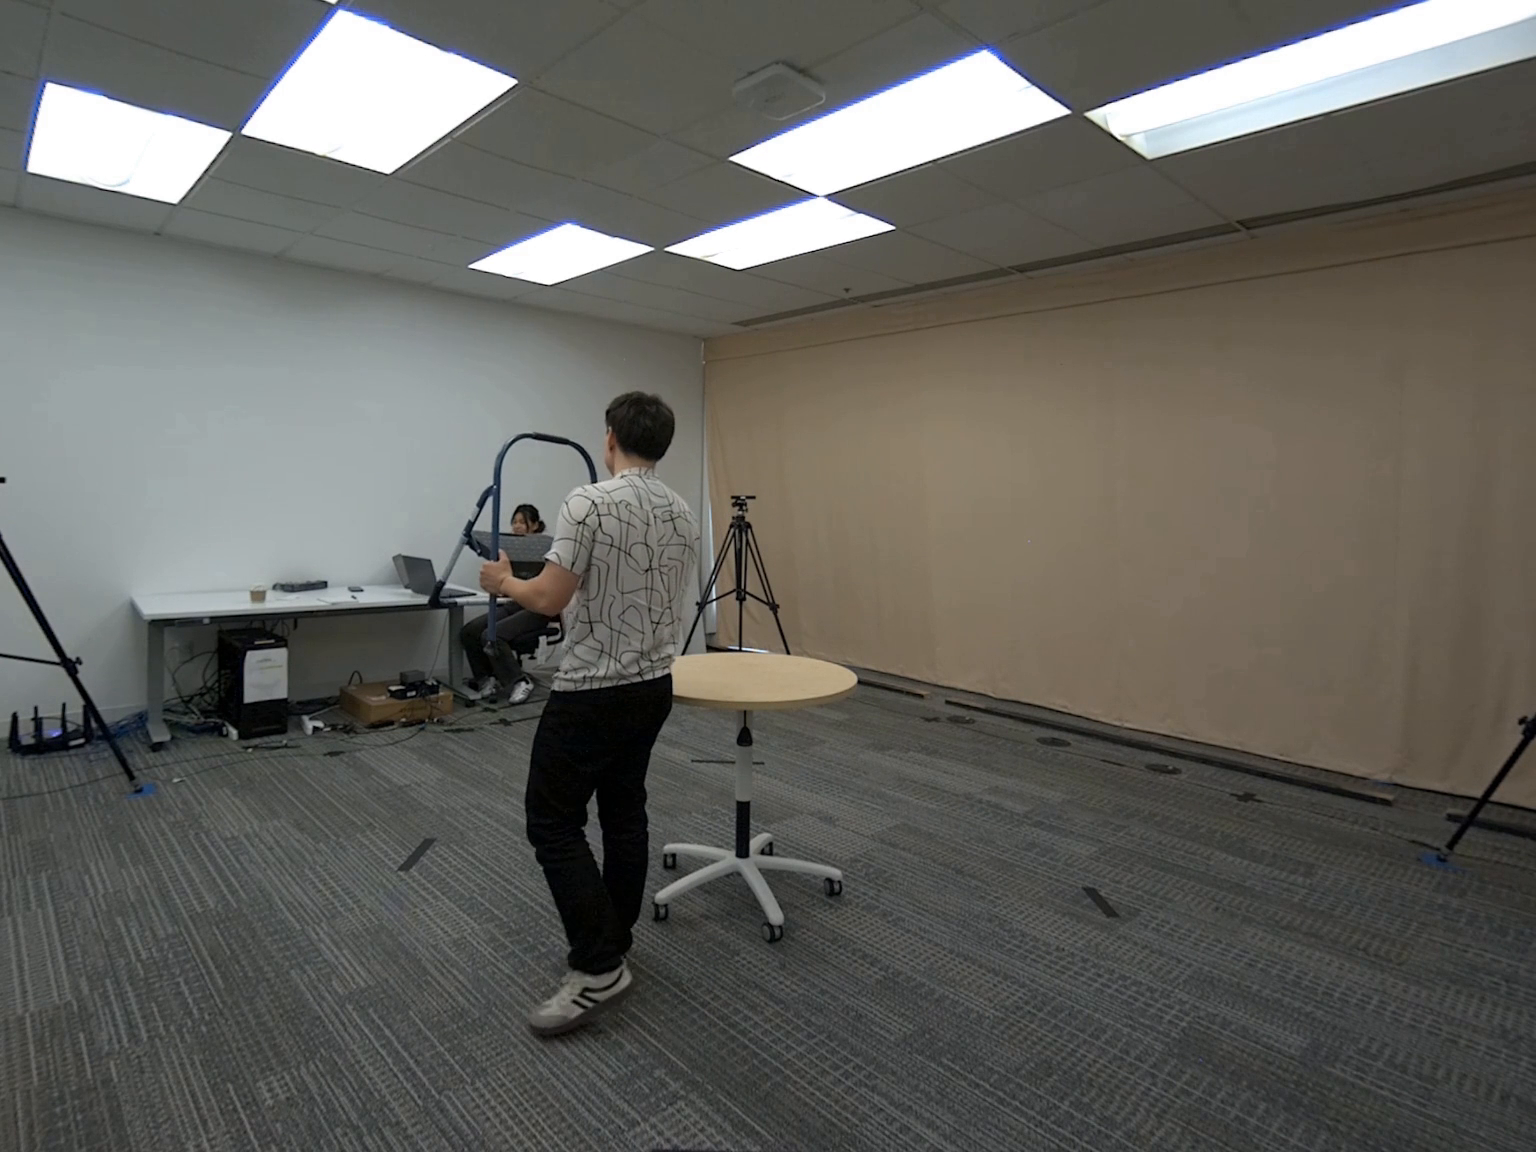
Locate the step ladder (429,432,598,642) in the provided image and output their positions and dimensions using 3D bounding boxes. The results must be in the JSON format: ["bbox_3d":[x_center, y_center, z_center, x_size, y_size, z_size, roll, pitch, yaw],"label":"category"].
[{"bbox_3d":[-0.702,-0.121,2.583,0.359,0.603,0.420,25,12,32],"label":"step ladder"}]
